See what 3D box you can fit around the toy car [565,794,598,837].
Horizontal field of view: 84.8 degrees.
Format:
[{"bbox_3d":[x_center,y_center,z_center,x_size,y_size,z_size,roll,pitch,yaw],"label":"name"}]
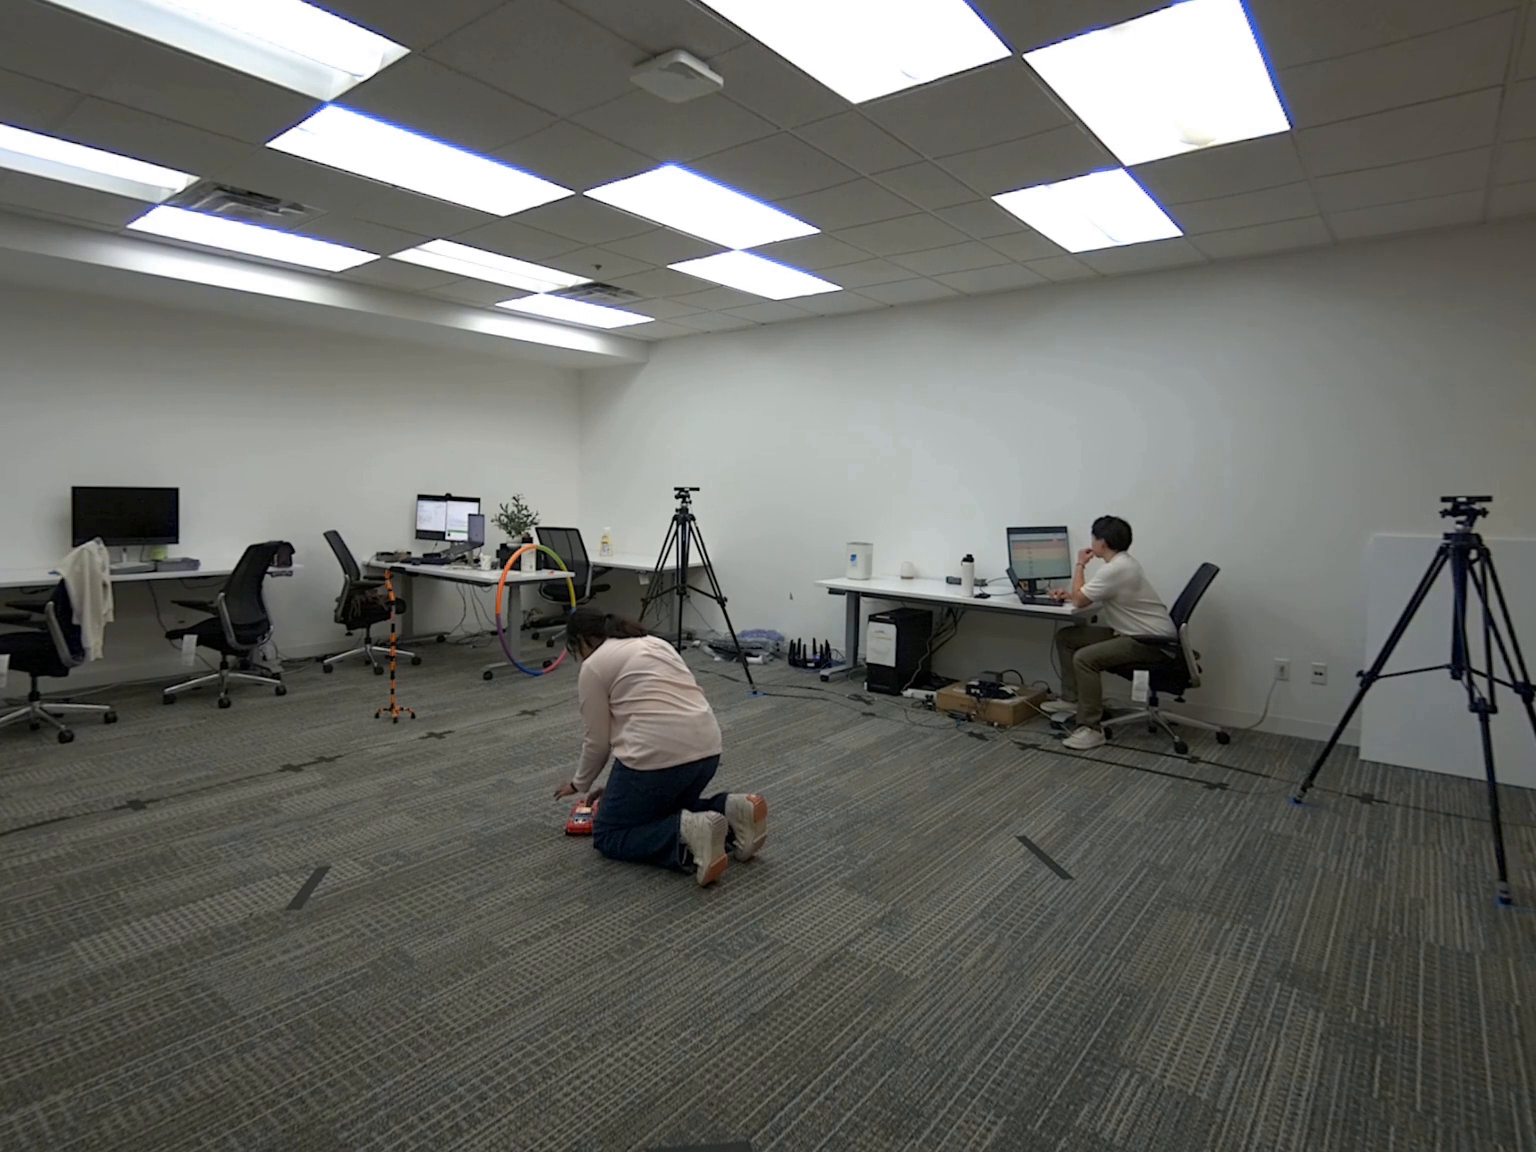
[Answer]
[{"bbox_3d":[-0.770,0.987,3.491,0.130,0.082,0.258,1,16,-3],"label":"toy car"}]
